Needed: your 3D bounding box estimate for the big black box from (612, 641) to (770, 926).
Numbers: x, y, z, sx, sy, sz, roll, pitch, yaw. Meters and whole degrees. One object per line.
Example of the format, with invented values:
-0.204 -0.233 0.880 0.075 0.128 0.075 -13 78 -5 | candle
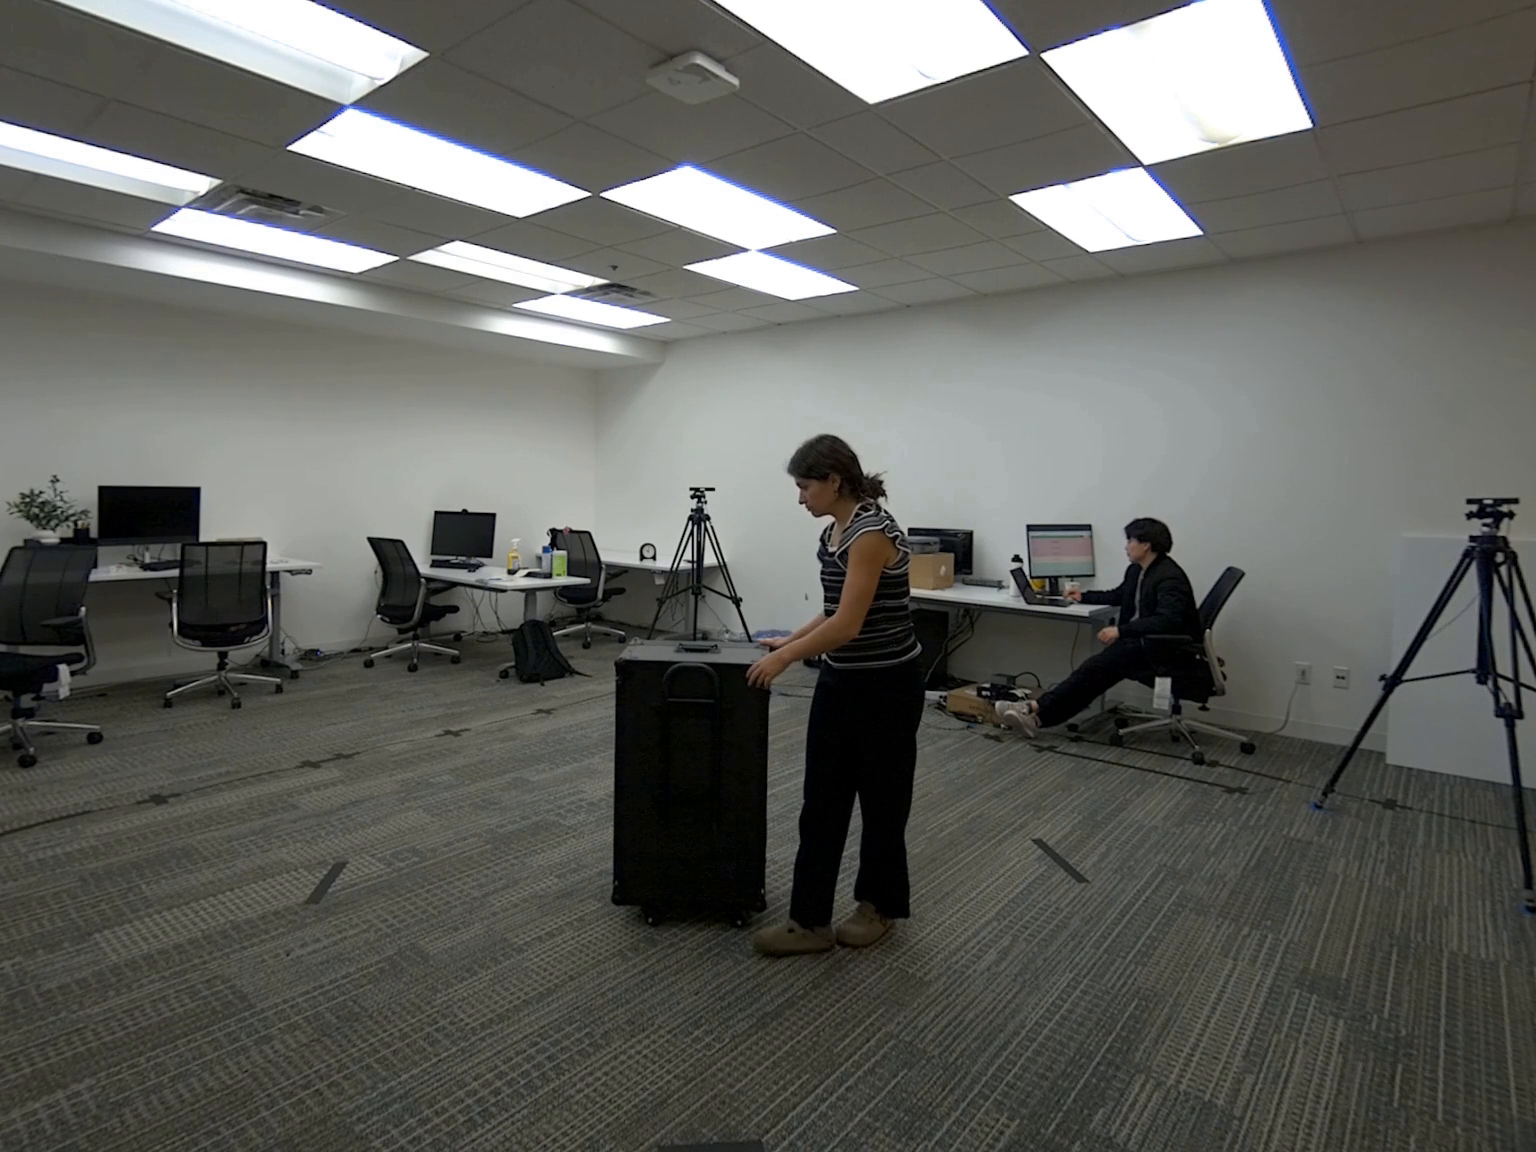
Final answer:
-0.248 0.669 2.814 0.523 0.859 0.396 2 3 3 | big black box
